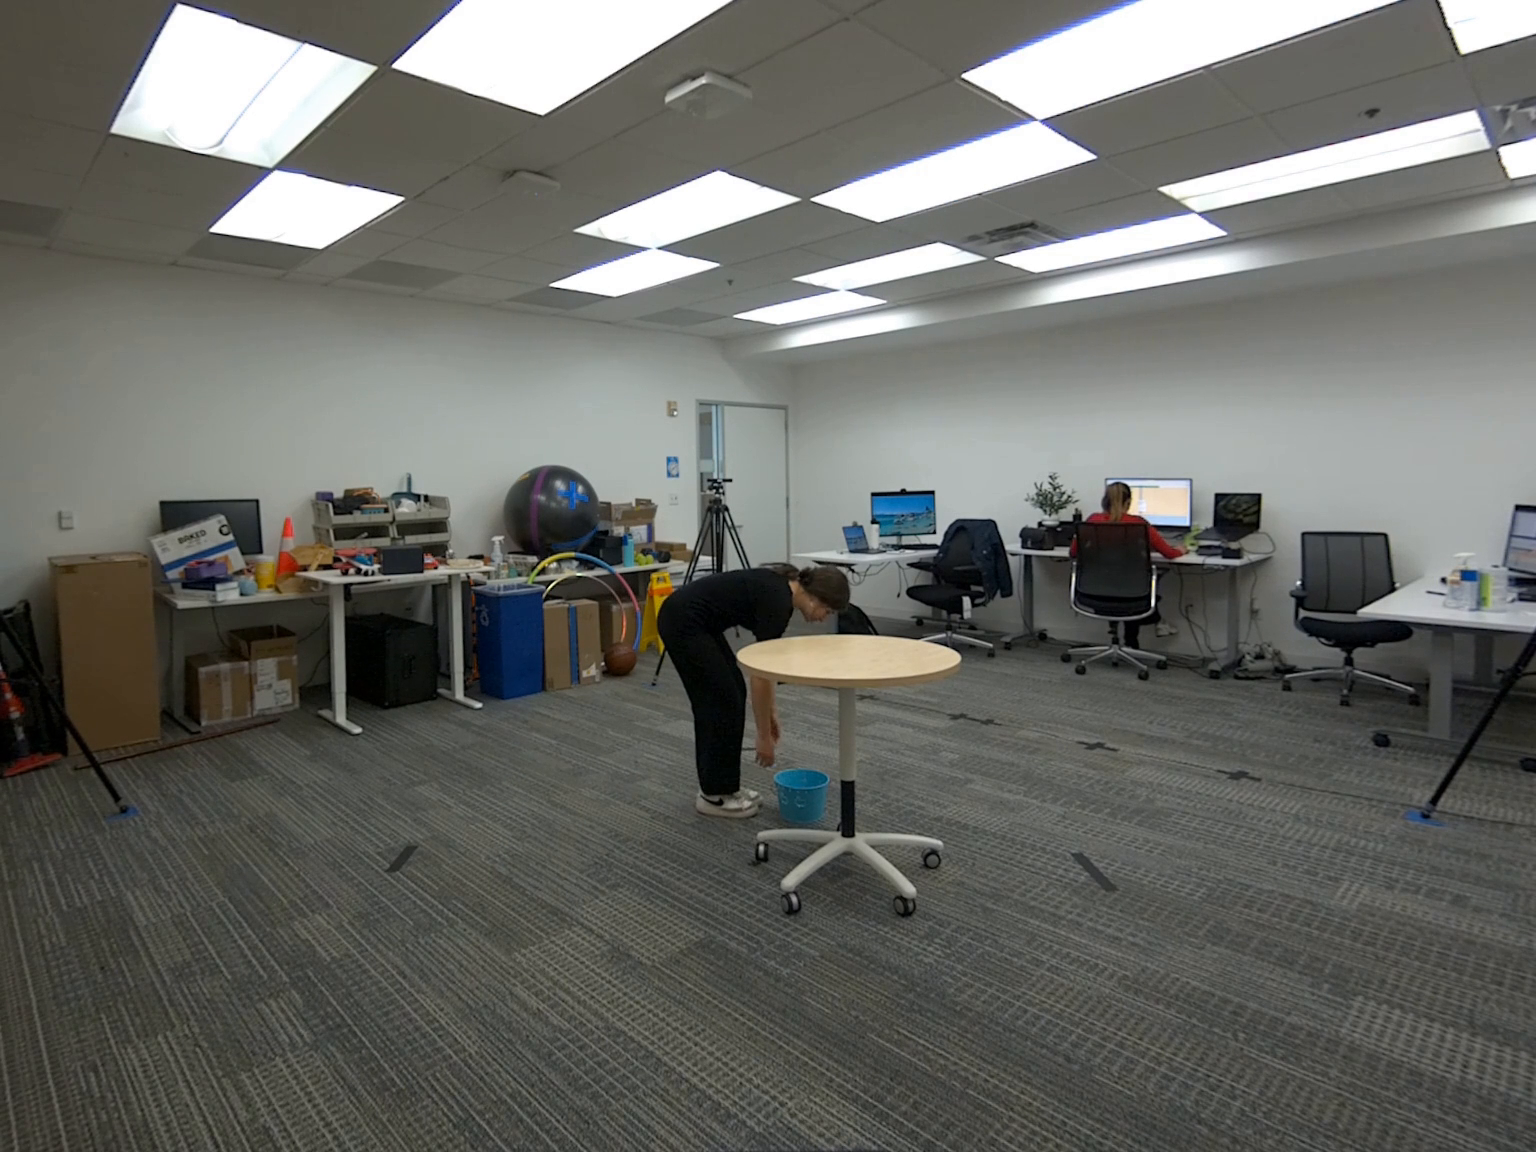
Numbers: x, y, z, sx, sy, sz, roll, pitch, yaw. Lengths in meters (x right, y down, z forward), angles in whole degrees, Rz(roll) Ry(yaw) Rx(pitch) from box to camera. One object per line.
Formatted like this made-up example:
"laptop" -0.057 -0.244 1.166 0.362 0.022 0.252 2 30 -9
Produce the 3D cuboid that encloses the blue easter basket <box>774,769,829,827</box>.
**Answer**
"blue easter basket" 0.137 0.915 3.544 0.243 0.155 0.245 -1 5 -2
